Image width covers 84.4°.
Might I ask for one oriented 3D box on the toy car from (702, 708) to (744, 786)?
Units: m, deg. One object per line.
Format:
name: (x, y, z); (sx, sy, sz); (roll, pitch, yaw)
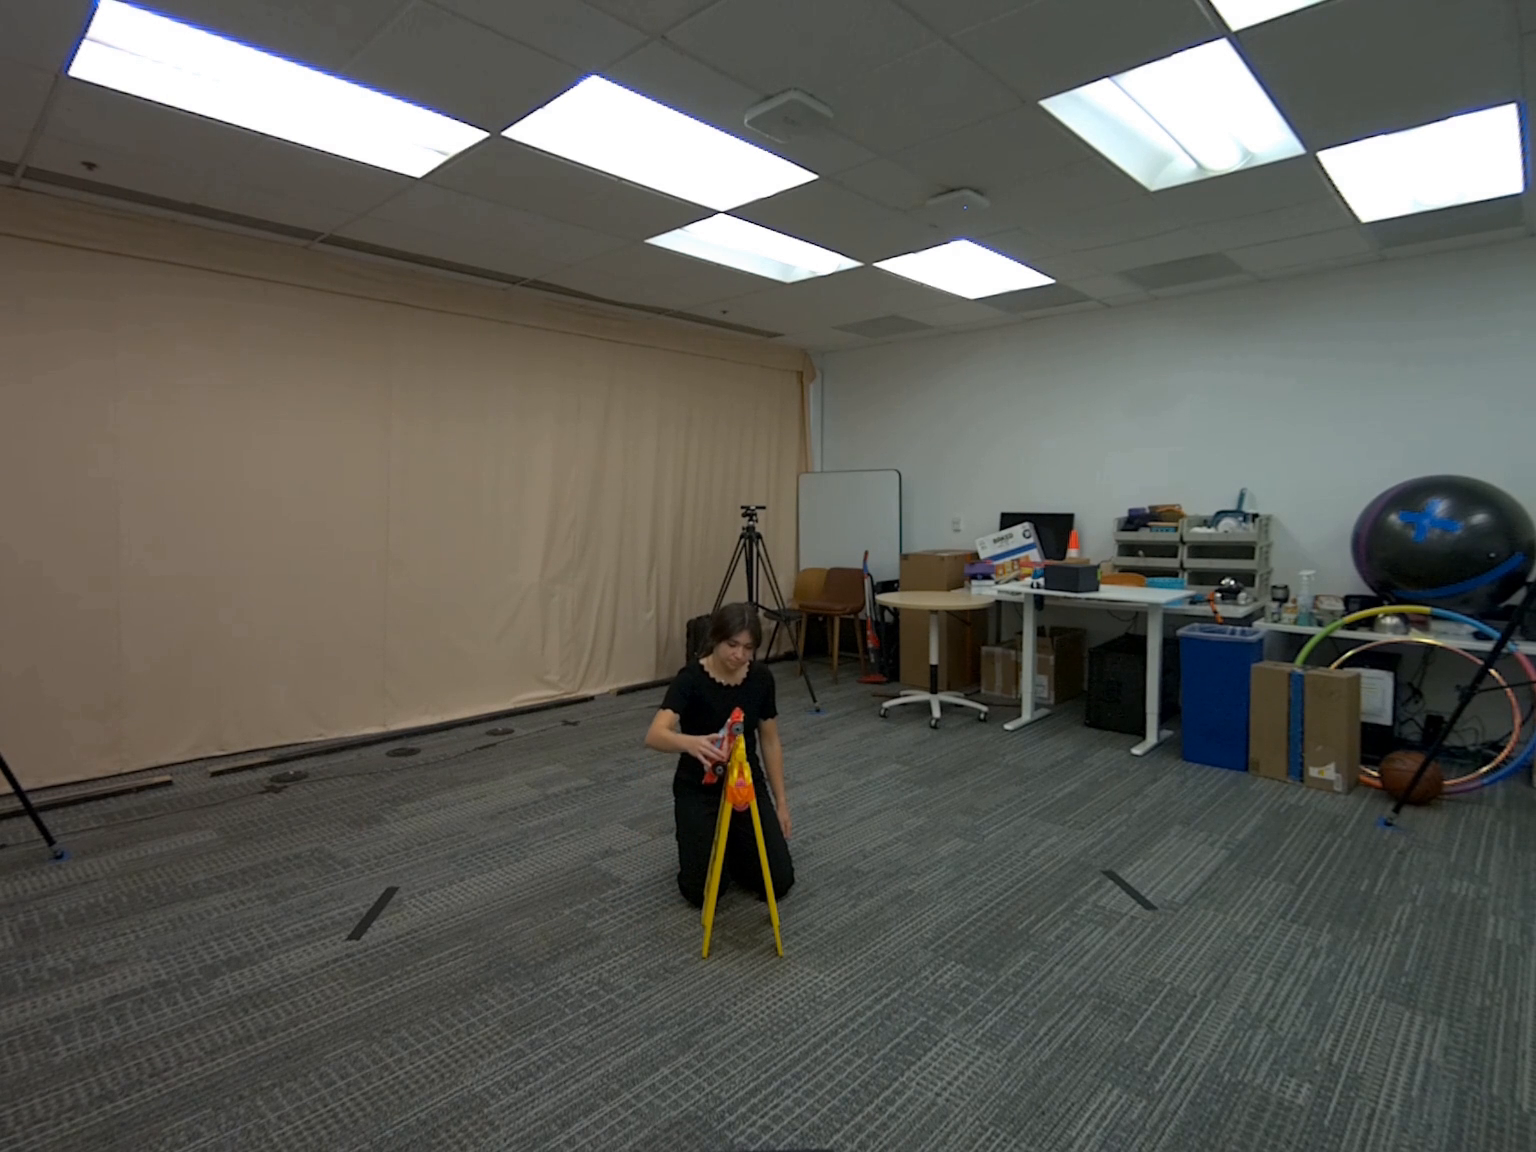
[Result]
toy car: (-0.131, 0.549, 2.692); (0.083, 0.254, 0.131); (30, 9, -6)
